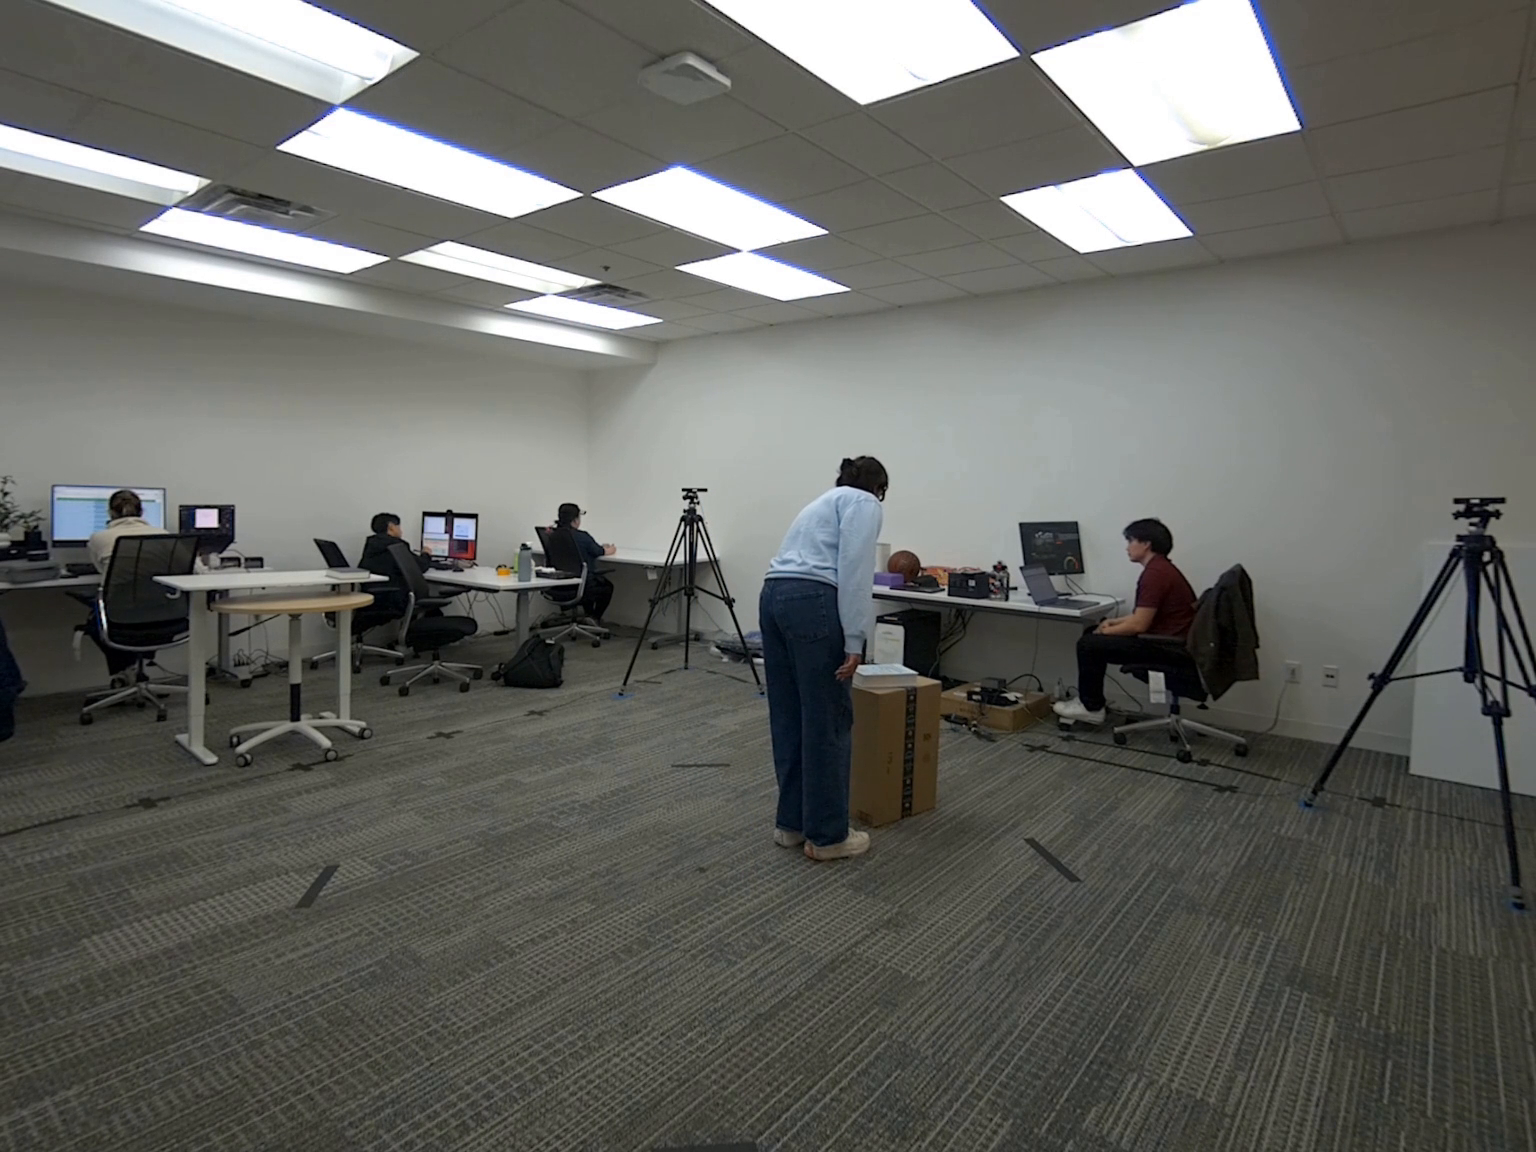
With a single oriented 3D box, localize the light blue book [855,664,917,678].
[{"bbox_3d":[0.488,0.433,3.711,0.256,0.059,0.196,0,7,-19],"label":"light blue book"}]
